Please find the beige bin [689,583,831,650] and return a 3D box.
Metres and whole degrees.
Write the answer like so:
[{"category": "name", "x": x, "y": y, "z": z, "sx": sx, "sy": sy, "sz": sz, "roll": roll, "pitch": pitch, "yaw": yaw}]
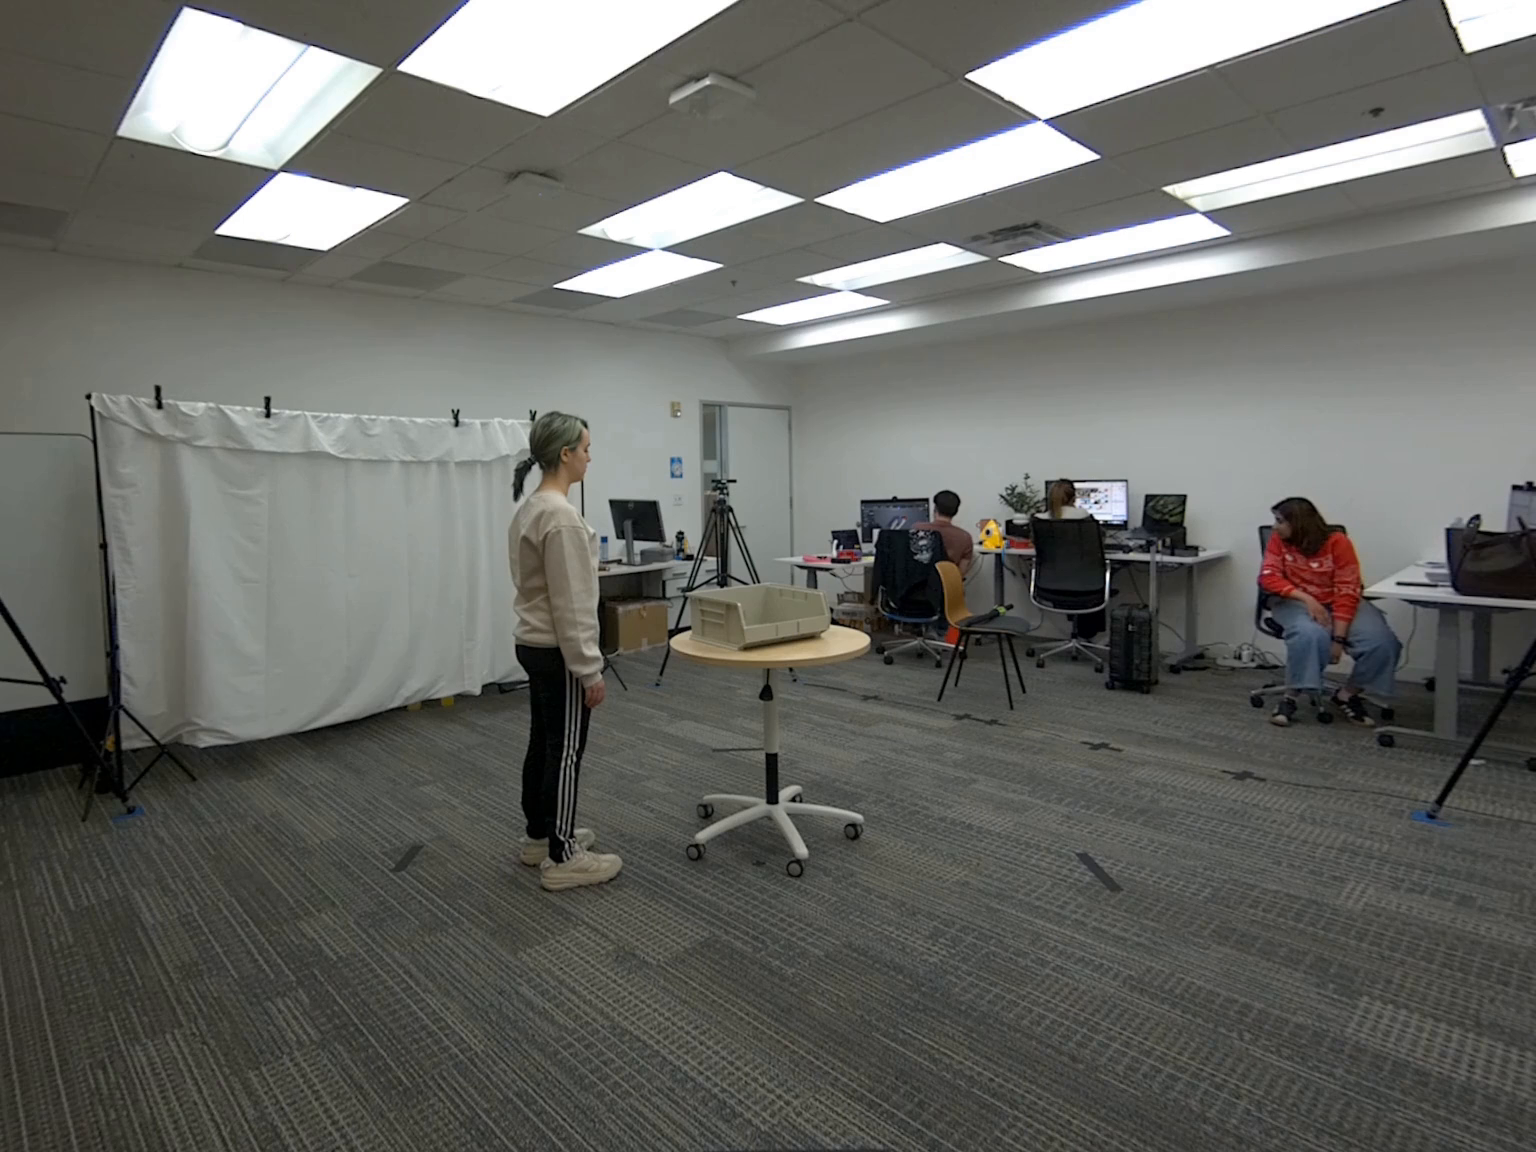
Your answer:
[{"category": "beige bin", "x": -0.037, "y": 0.154, "z": 3.290, "sx": 0.412, "sy": 0.188, "sz": 0.388, "roll": -6, "pitch": 7, "yaw": -37}]
